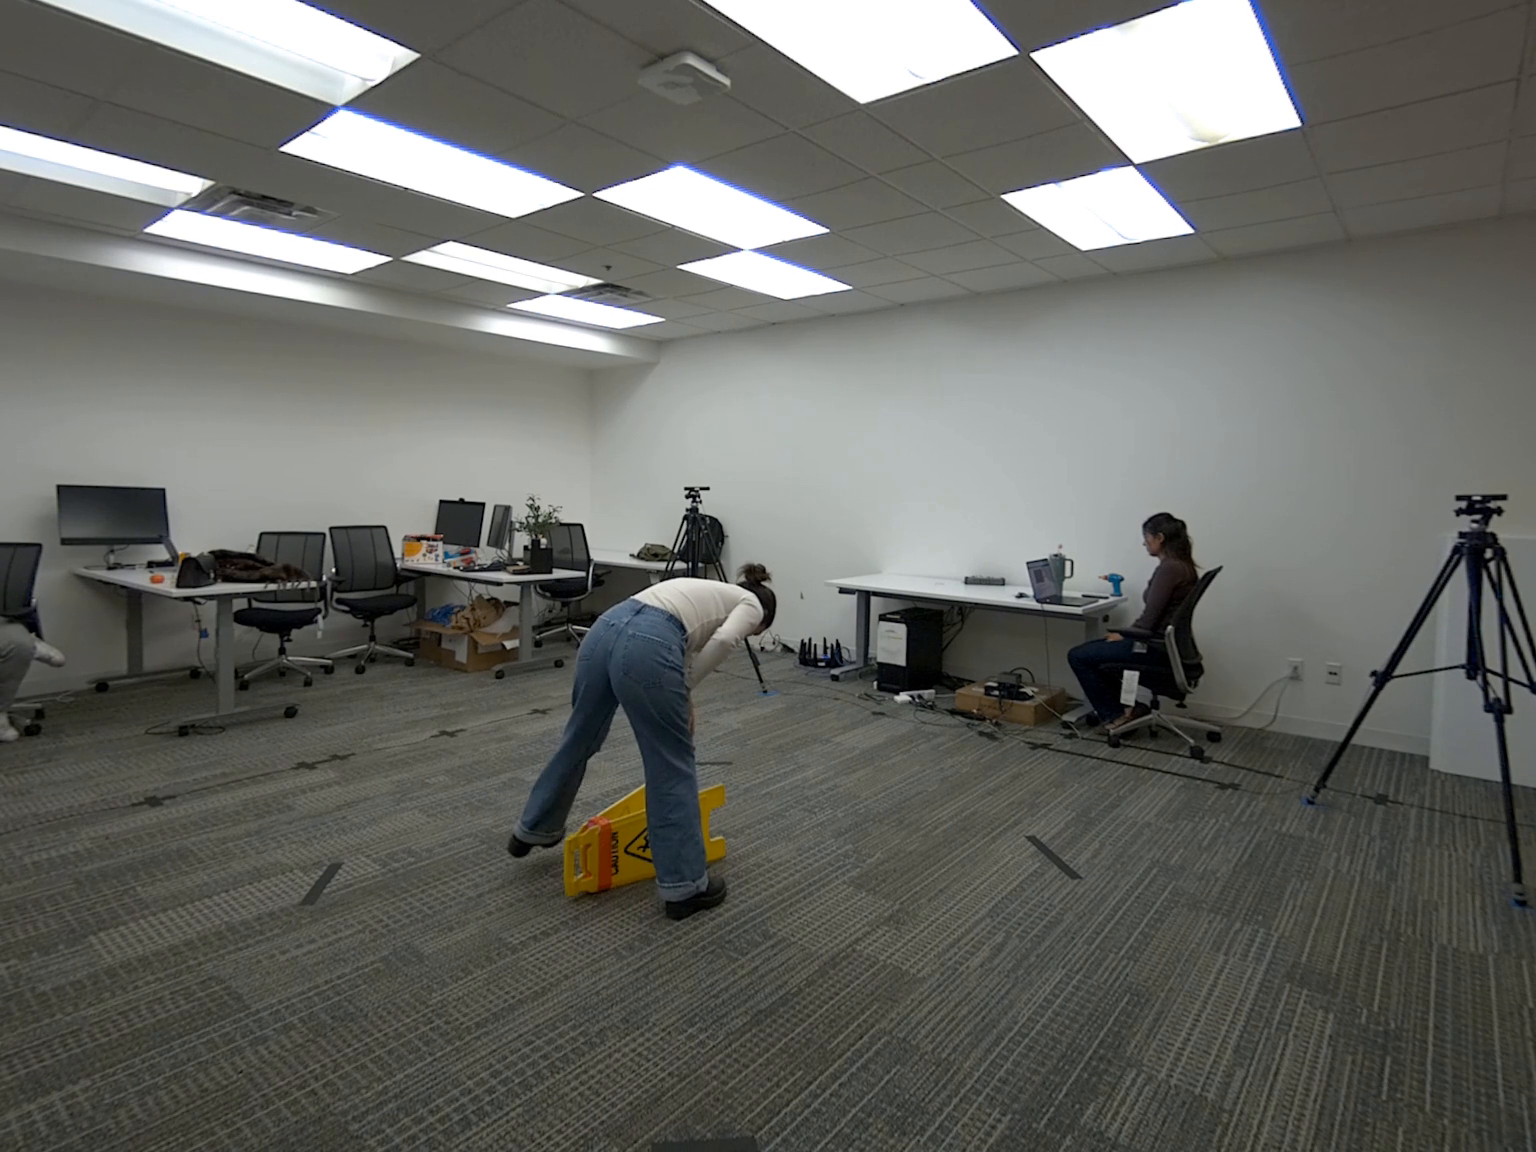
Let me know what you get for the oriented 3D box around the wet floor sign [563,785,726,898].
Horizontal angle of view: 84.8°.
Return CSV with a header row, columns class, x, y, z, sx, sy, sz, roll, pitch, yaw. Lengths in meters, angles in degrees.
class,x,y,z,sx,sy,sz,roll,pitch,yaw
wet floor sign,-0.474,0.938,3.055,0.299,0.281,0.628,2,6,40
